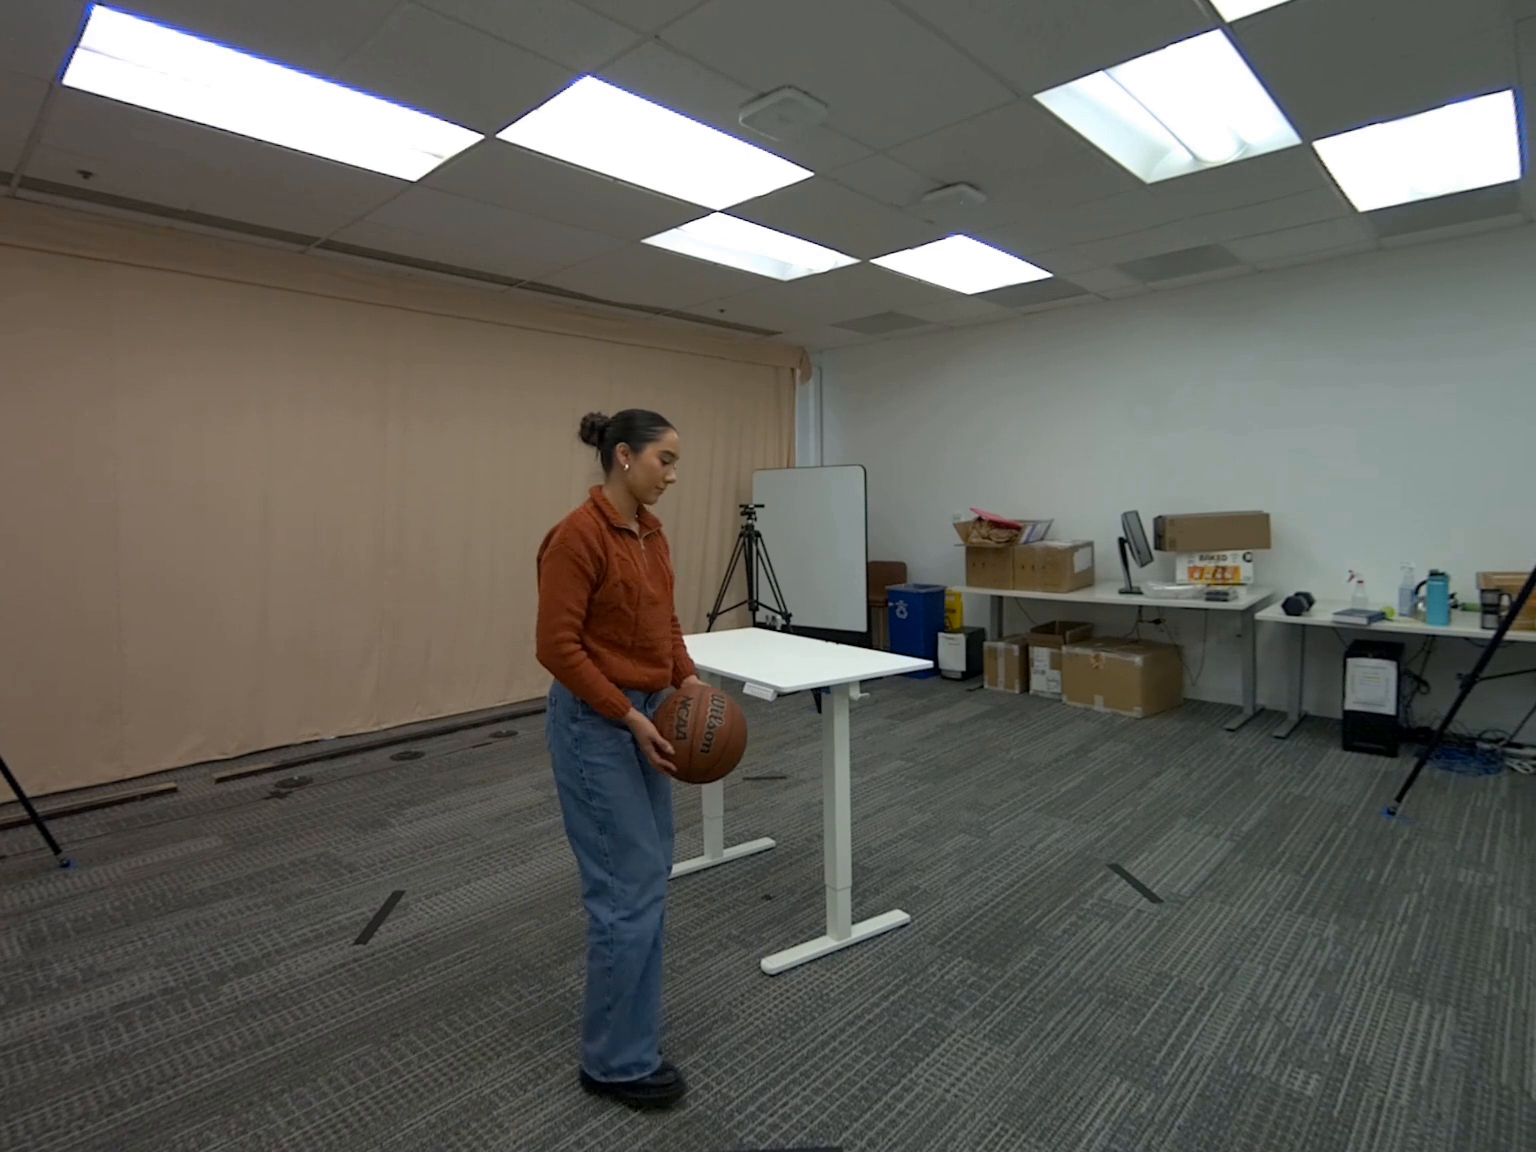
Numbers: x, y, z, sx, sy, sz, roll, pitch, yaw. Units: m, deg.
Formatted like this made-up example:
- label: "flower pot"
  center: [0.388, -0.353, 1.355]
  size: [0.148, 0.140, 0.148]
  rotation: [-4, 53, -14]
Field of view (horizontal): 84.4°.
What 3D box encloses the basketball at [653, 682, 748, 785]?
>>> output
- label: "basketball"
  center: [-0.166, 0.376, 2.035]
  size: [0.236, 0.235, 0.237]
  rotation: [-1, 4, -2]
